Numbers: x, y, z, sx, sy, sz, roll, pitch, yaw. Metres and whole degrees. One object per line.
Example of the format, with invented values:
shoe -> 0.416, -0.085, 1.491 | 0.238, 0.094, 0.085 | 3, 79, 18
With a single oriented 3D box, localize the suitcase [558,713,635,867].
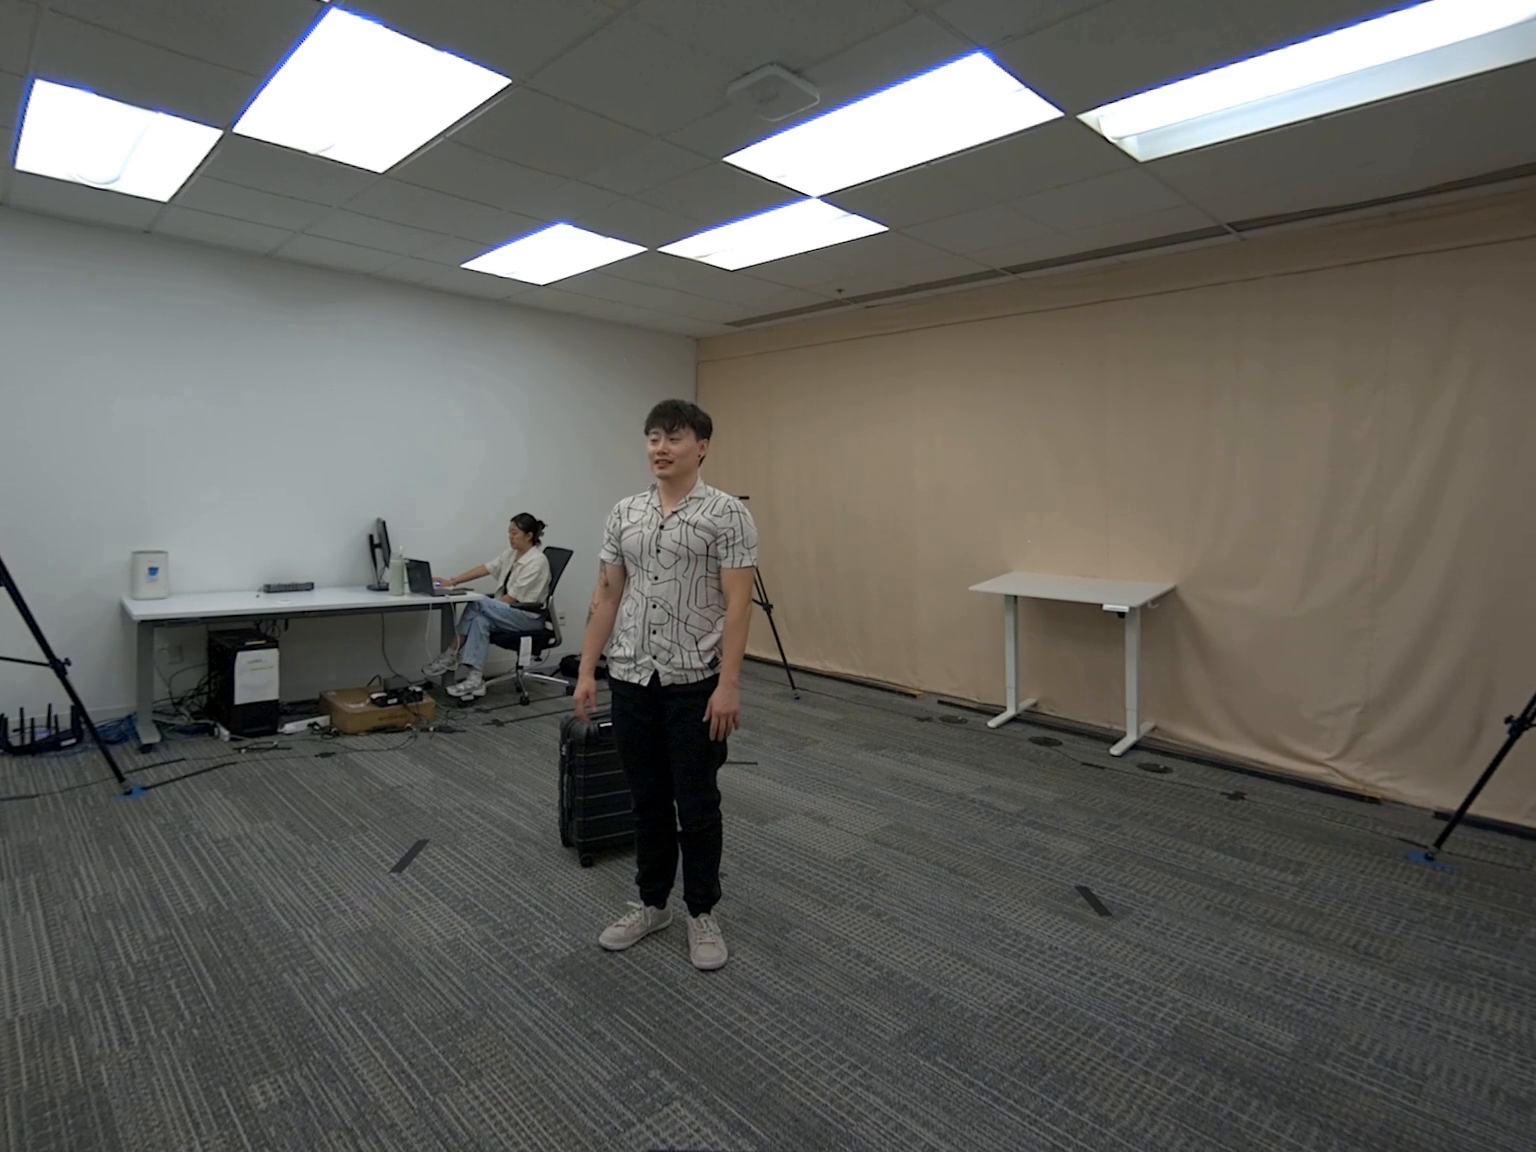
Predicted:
suitcase -> -0.643, 0.799, 3.300 | 0.368, 0.547, 0.254 | -3, 5, -31
